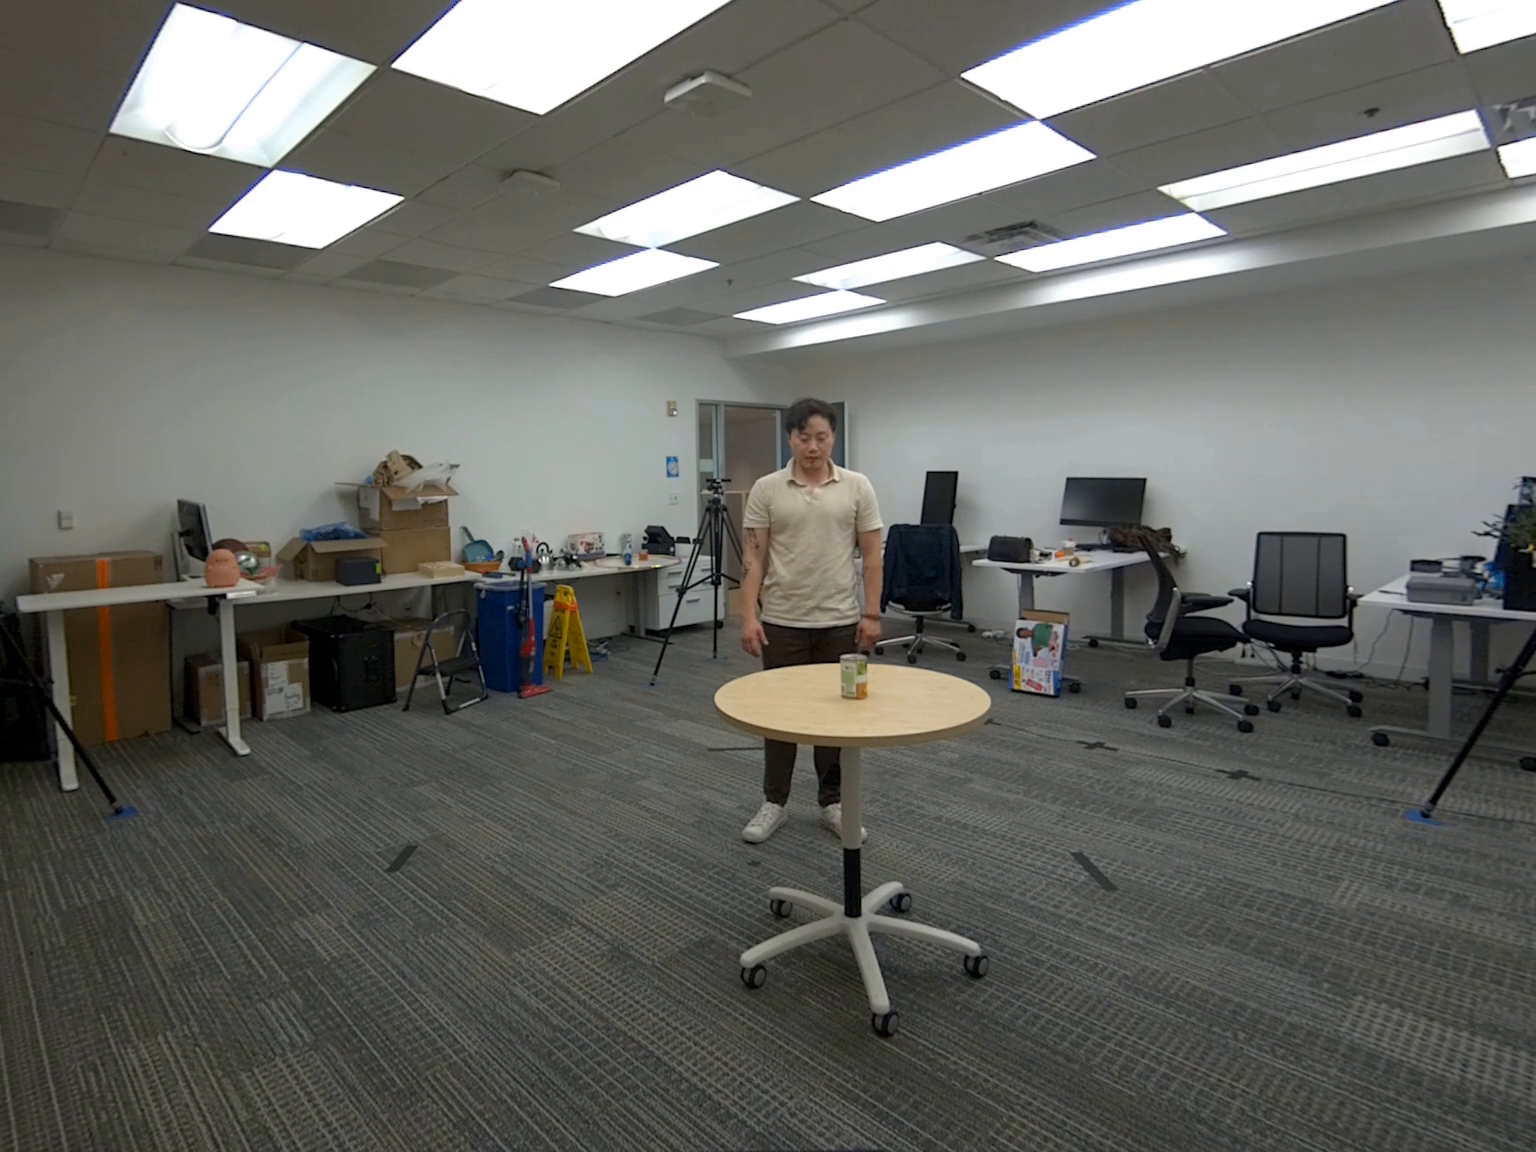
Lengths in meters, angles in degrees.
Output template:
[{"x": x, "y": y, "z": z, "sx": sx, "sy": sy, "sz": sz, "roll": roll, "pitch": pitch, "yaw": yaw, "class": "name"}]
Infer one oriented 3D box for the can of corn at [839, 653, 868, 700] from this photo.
[{"x": 0.245, "y": 0.282, "z": 2.388, "sx": 0.074, "sy": 0.110, "sz": 0.075, "roll": -4, "pitch": 7, "yaw": -1, "class": "can of corn"}]
